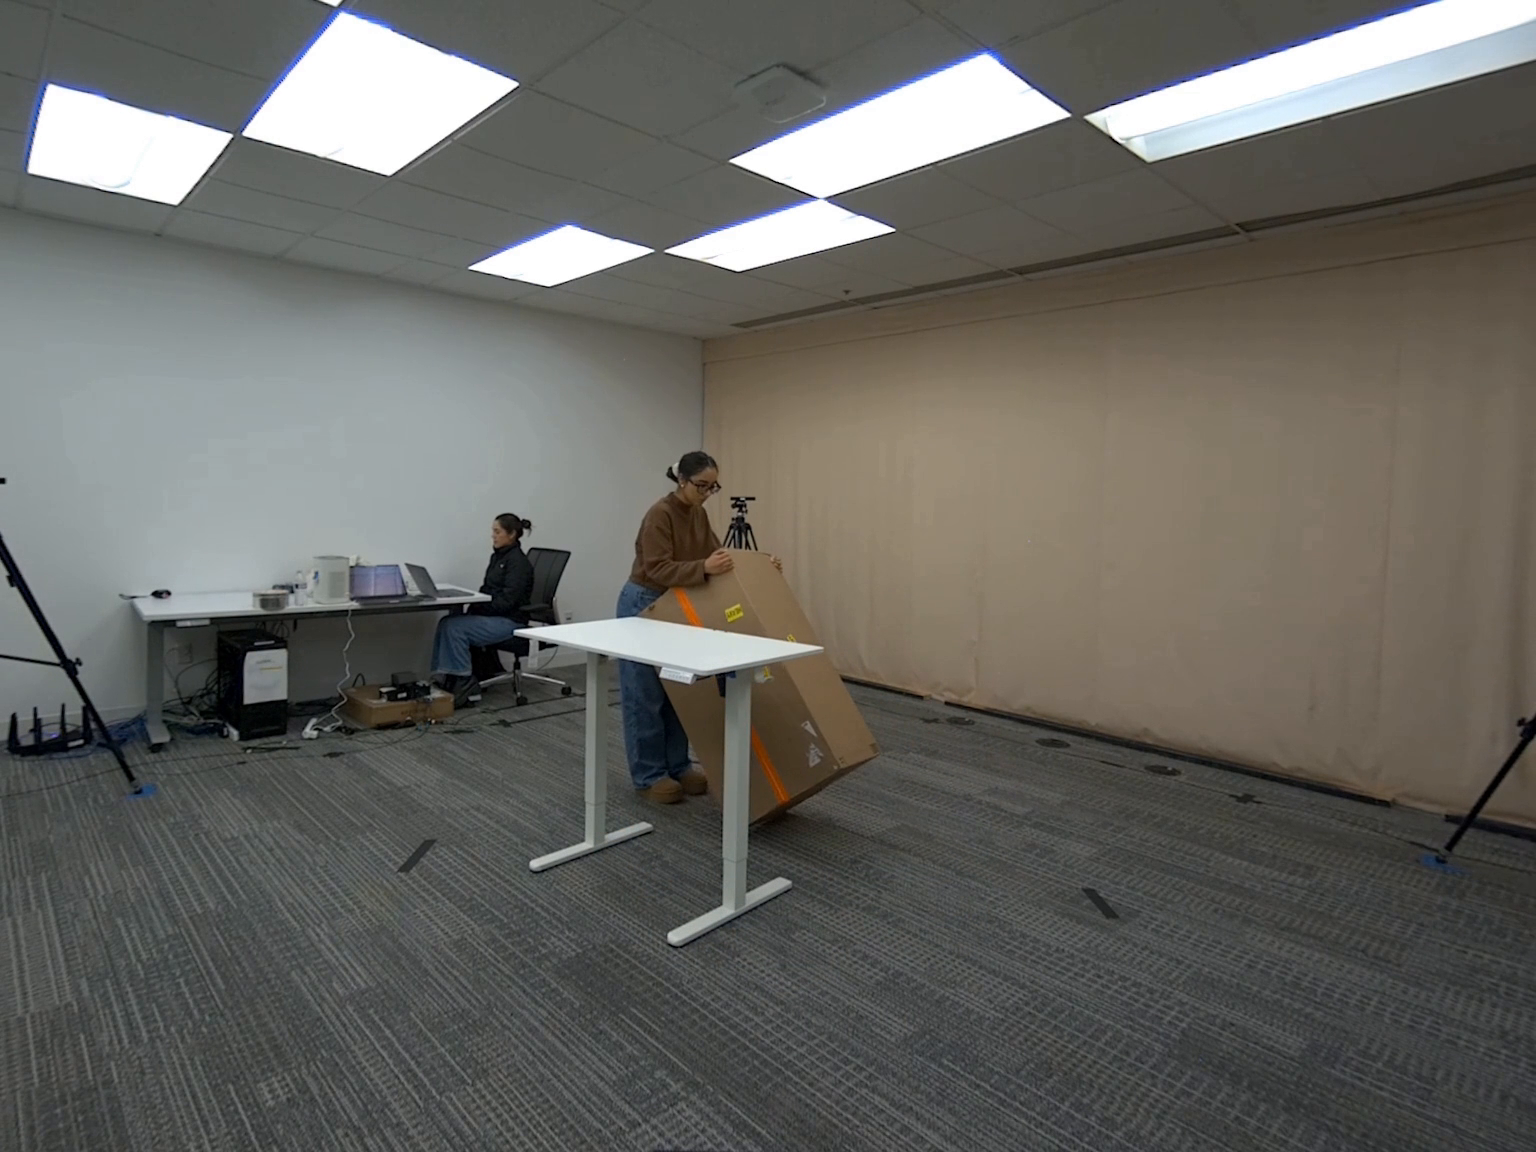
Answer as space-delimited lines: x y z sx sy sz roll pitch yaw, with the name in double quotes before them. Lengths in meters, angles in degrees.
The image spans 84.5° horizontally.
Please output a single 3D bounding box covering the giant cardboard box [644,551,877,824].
"giant cardboard box" -0.067 0.477 3.665 0.579 1.047 0.416 -38 -22 23
